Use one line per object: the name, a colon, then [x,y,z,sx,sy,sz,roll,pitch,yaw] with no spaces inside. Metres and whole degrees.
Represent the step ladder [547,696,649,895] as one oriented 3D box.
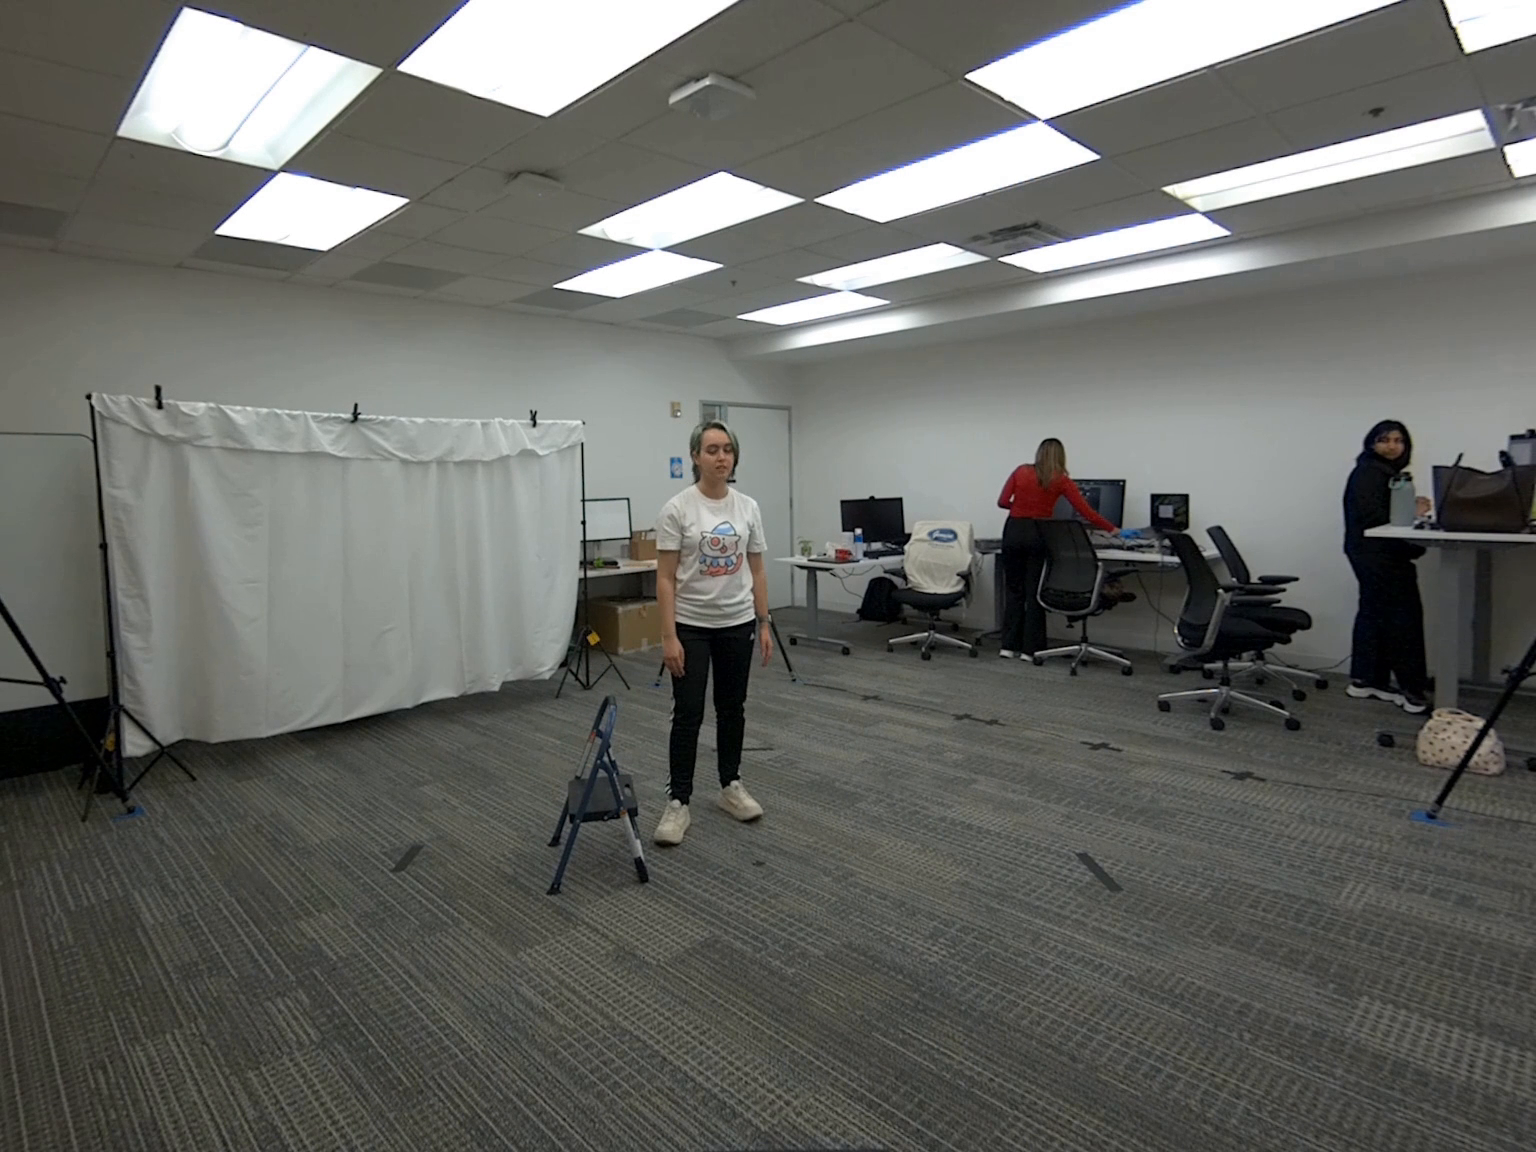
step ladder: [-0.636,0.757,3.123,0.345,0.604,0.437,-2,4,-13]
